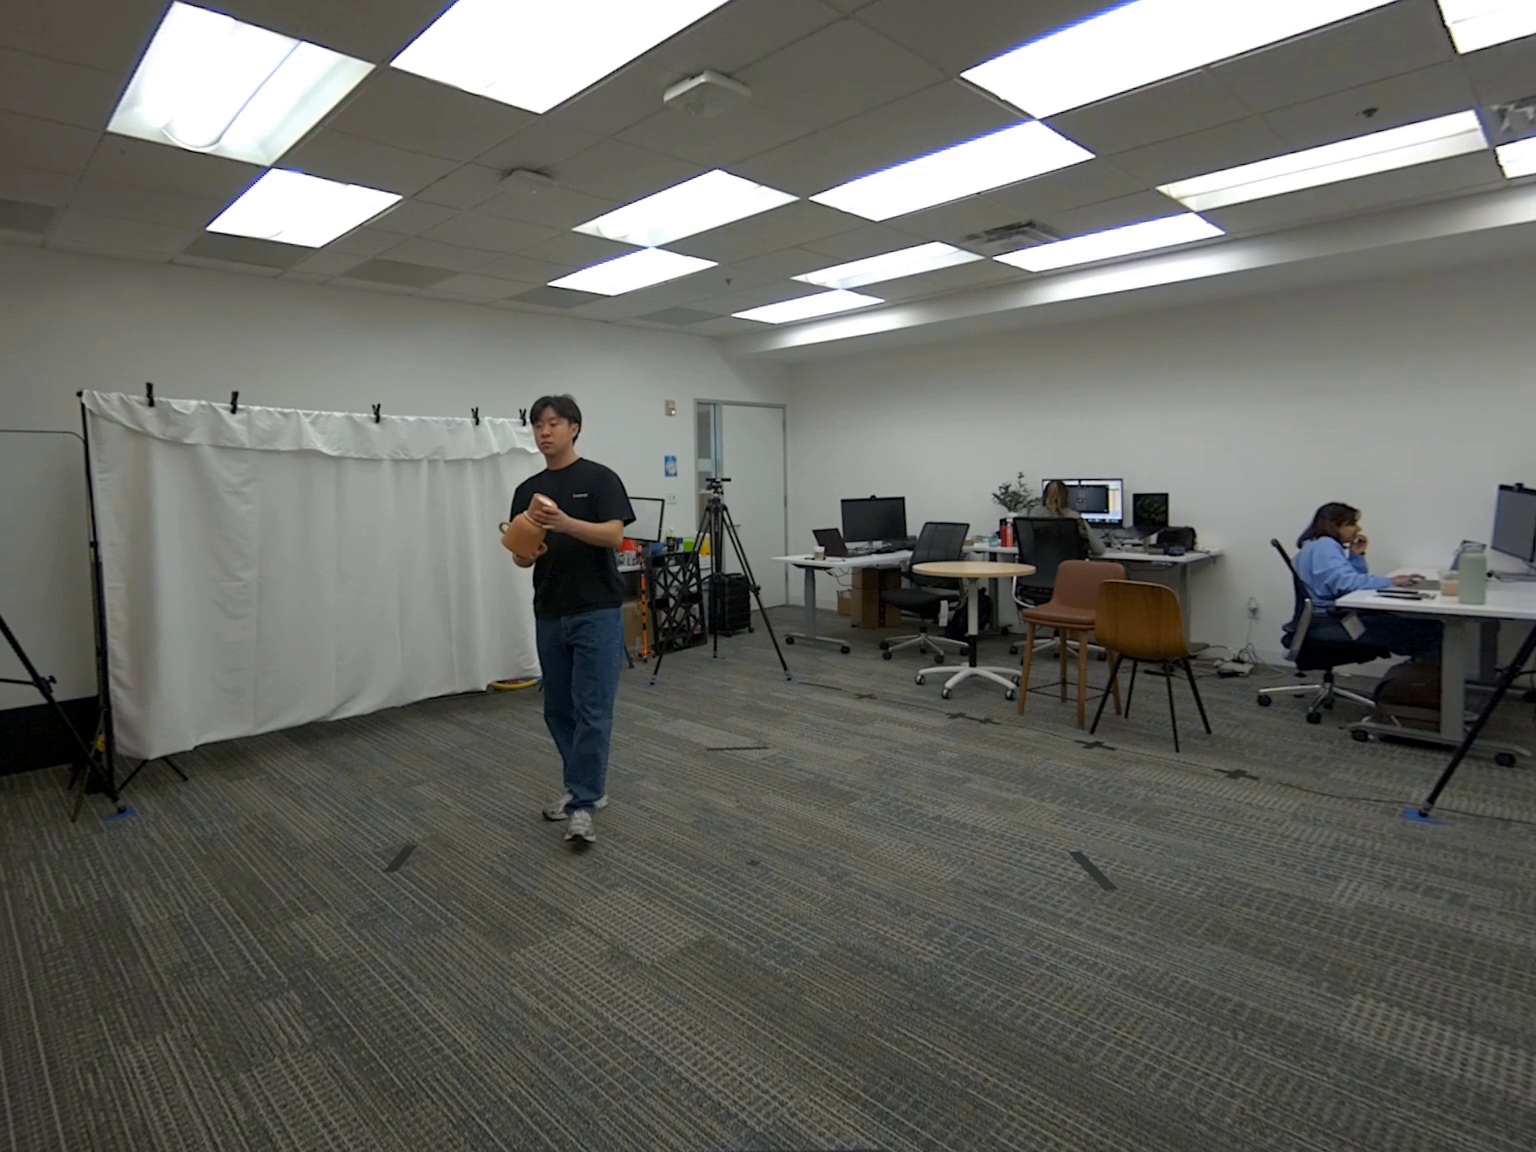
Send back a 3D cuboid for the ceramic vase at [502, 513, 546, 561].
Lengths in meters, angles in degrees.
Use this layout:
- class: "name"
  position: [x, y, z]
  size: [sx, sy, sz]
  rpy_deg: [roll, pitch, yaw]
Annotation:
- class: "ceramic vase"
  position: [-0.897, -0.194, 3.206]
  size: [0.140, 0.219, 0.153]
  rpy_deg: [43, 14, 36]
